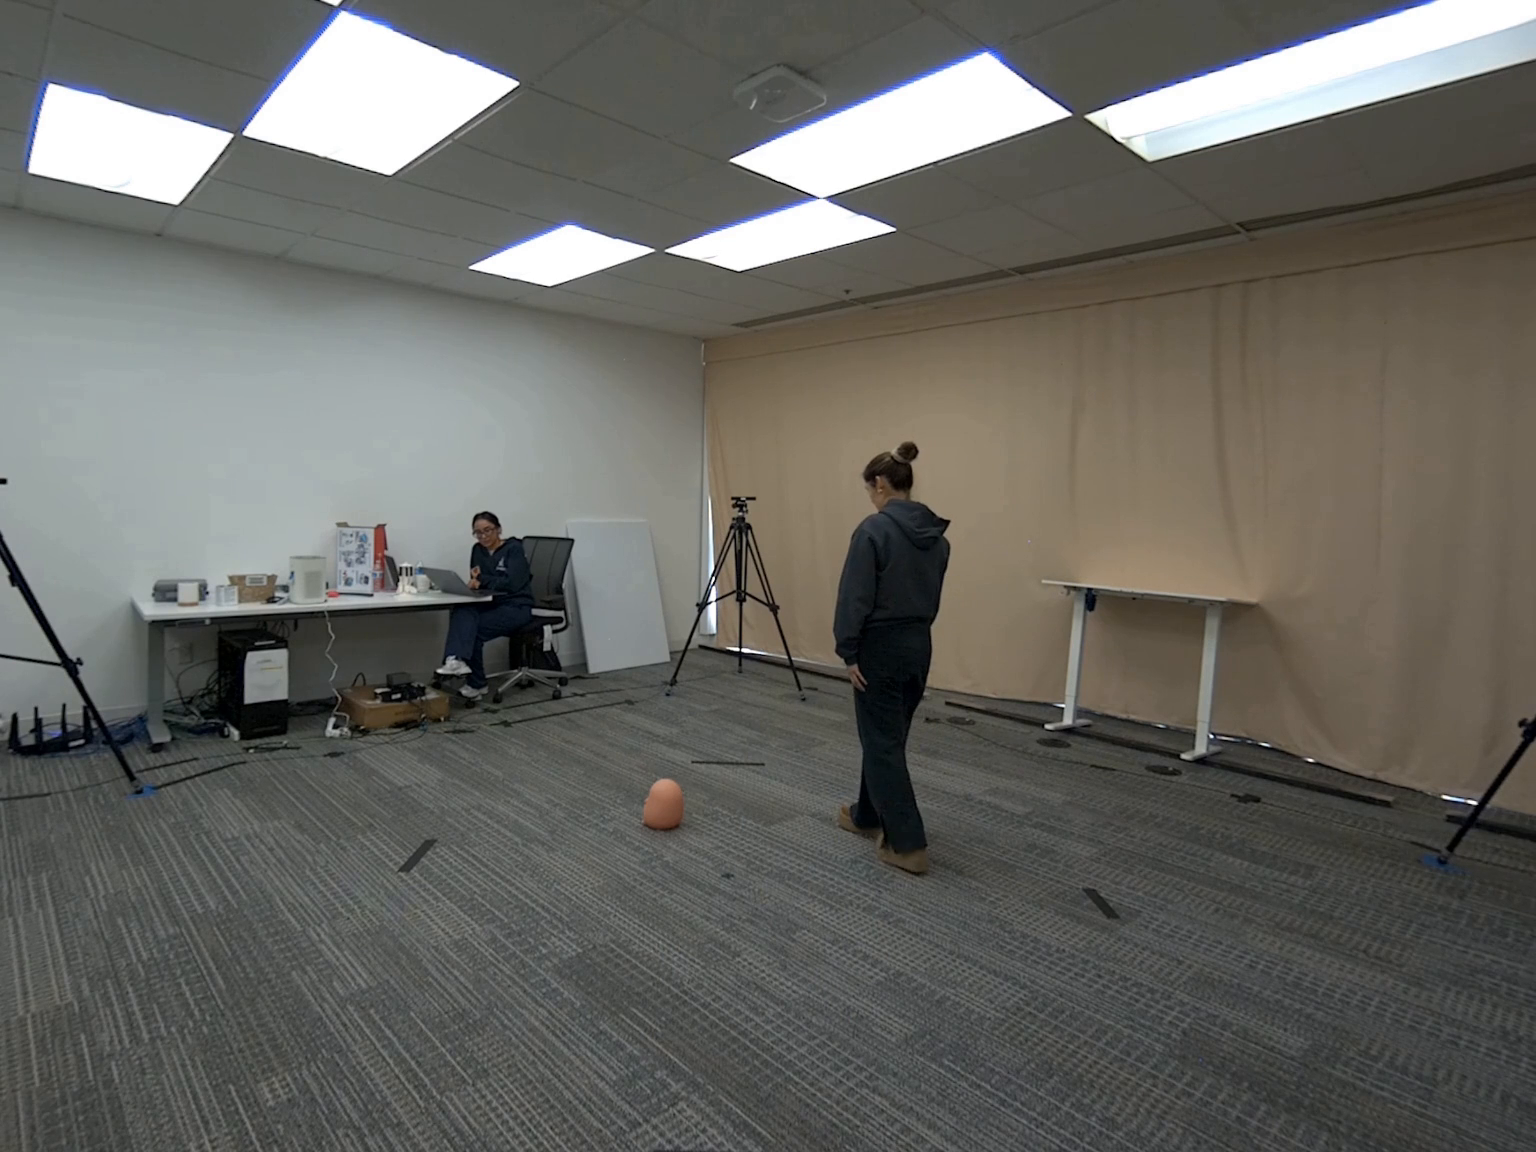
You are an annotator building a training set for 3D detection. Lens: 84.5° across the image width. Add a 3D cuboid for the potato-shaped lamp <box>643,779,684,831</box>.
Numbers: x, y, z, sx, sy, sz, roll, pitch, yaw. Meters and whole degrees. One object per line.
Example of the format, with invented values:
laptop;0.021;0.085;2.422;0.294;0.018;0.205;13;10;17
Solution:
potato-shaped lamp;-0.448;0.950;3.574;0.176;0.197;0.161;4;5;39
